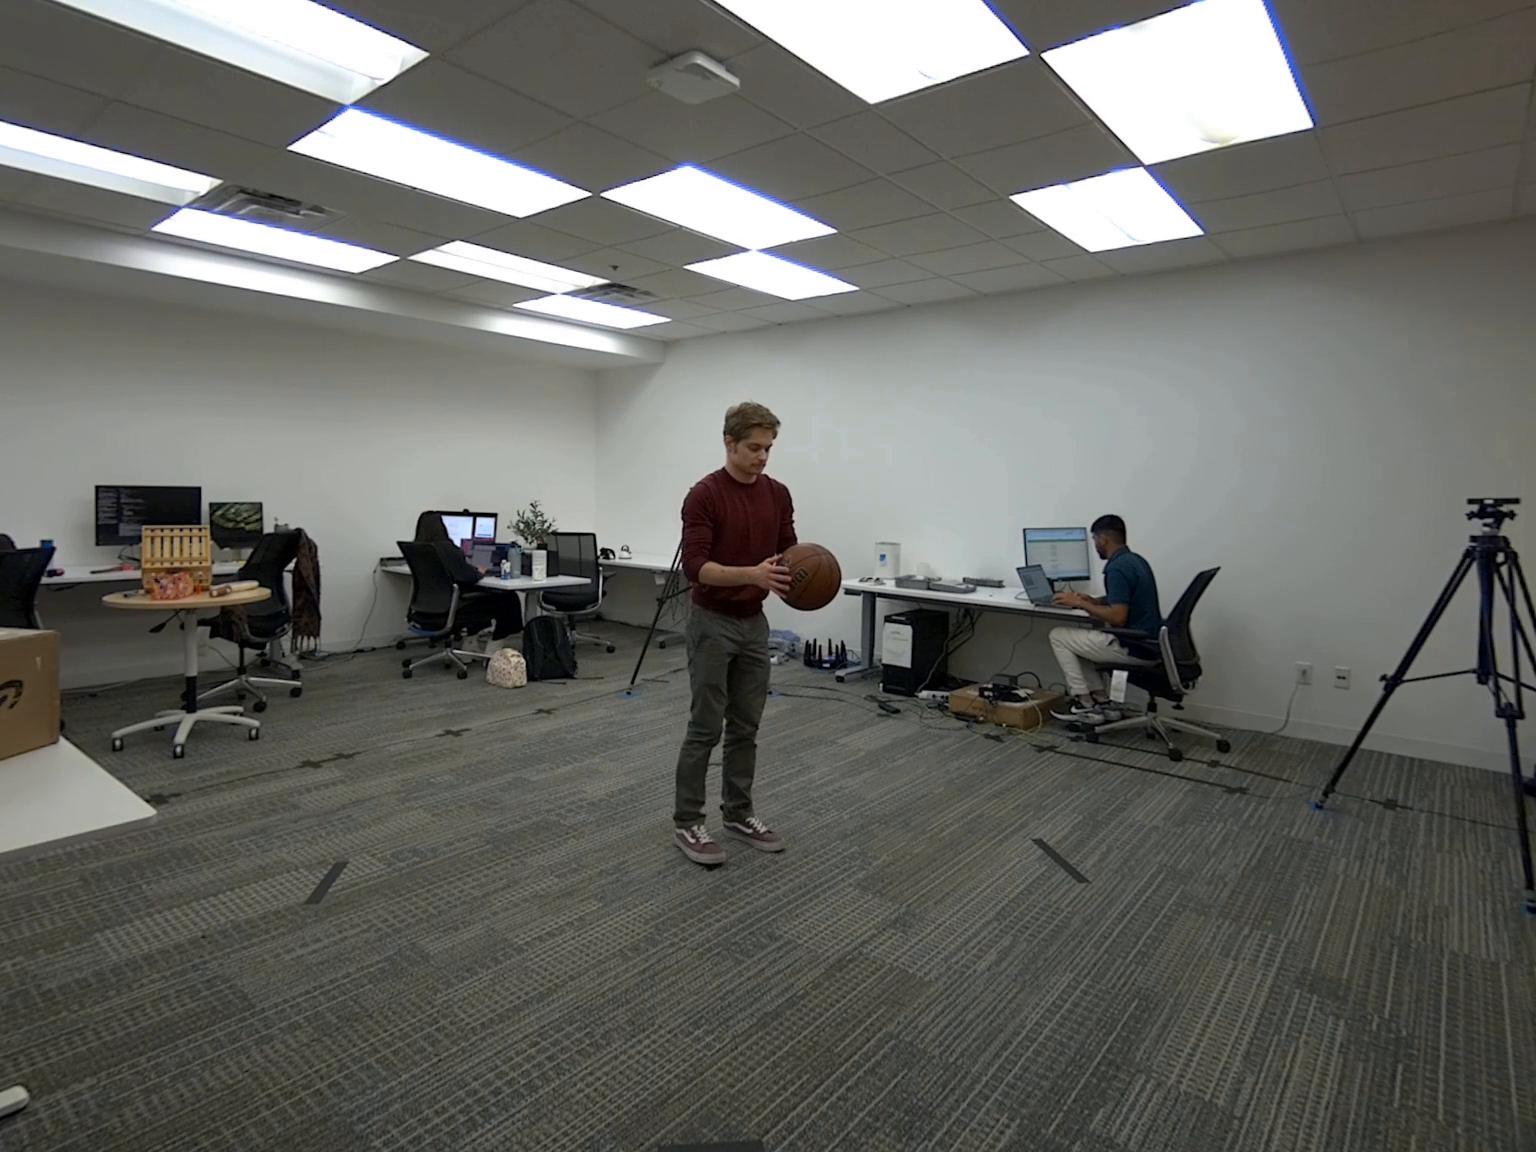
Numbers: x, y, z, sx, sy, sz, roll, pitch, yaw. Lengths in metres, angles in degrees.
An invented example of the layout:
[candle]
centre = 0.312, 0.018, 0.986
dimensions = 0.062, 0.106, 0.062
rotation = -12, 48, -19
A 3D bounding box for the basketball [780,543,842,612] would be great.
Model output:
[basketball]
centre = 0.137, -0.004, 2.980
dimensions = 0.235, 0.235, 0.237
rotation = 1, 4, -2
